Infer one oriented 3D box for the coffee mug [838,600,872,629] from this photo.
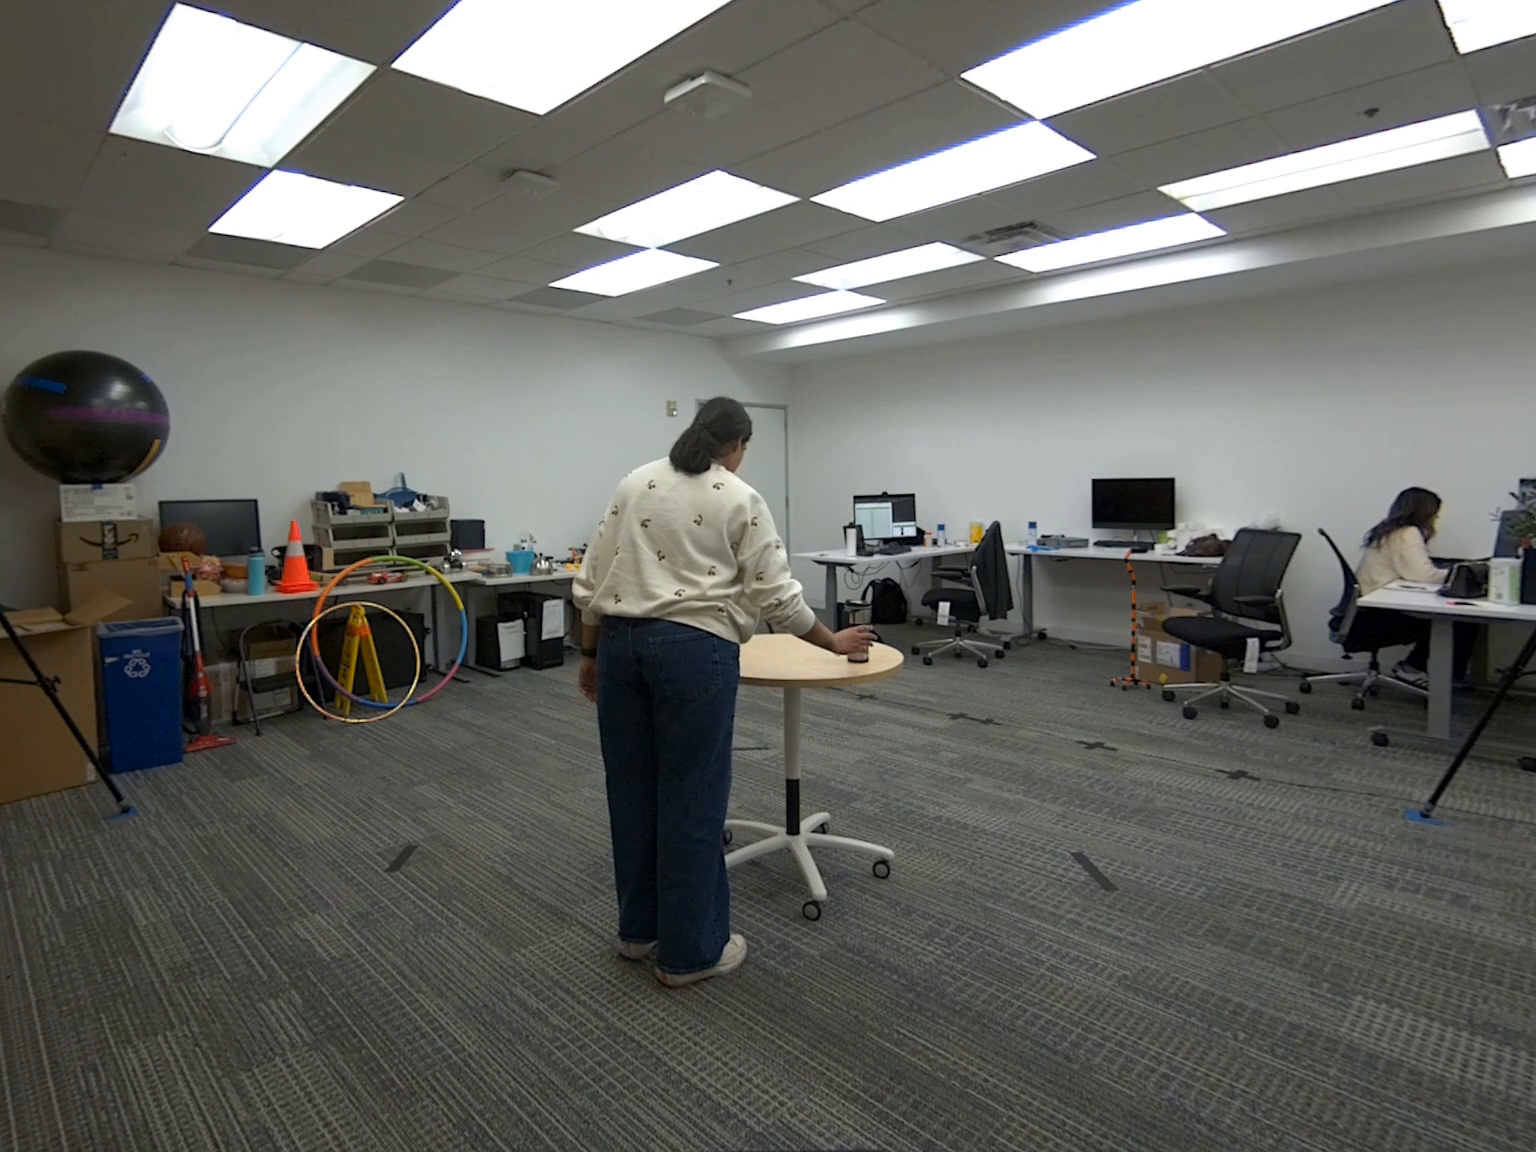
[{"bbox_3d":[0.327,0.186,2.857,0.119,0.202,0.090,-6,5,-29],"label":"coffee mug"}]
